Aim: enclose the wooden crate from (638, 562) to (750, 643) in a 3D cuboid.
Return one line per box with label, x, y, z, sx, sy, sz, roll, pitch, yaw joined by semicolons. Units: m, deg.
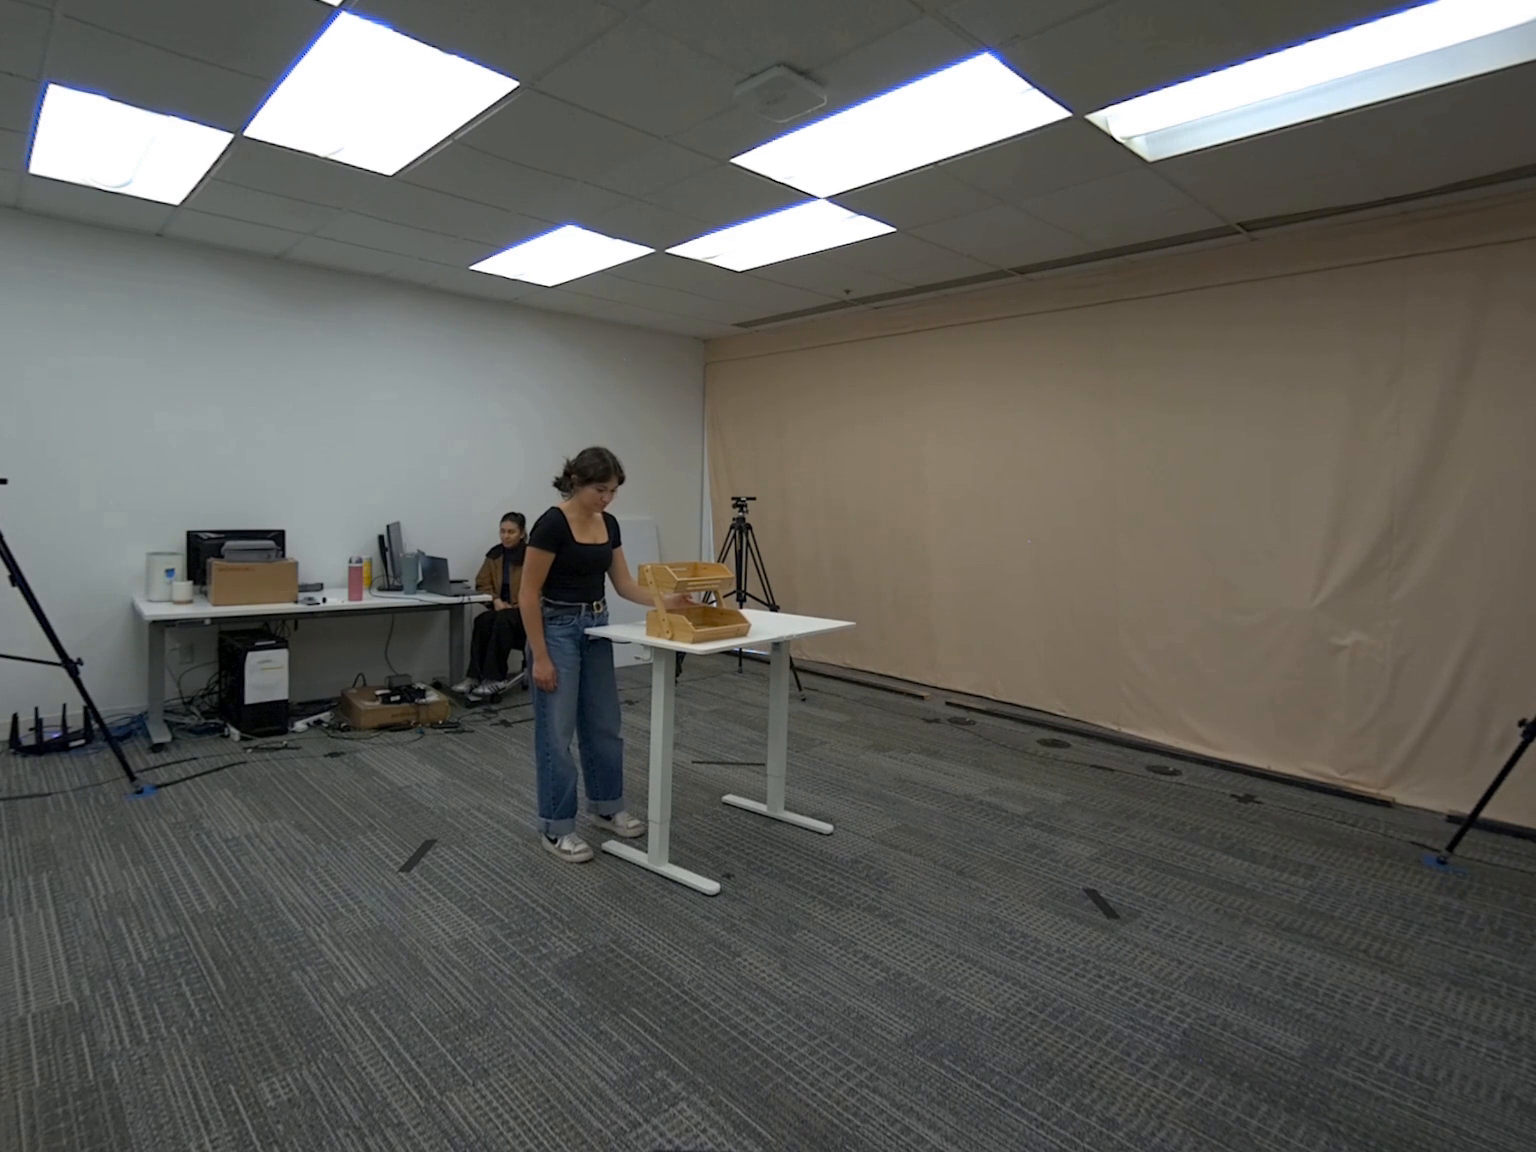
wooden crate;-0.275;0.084;3.108;0.309;0.273;0.317;3;4;41
